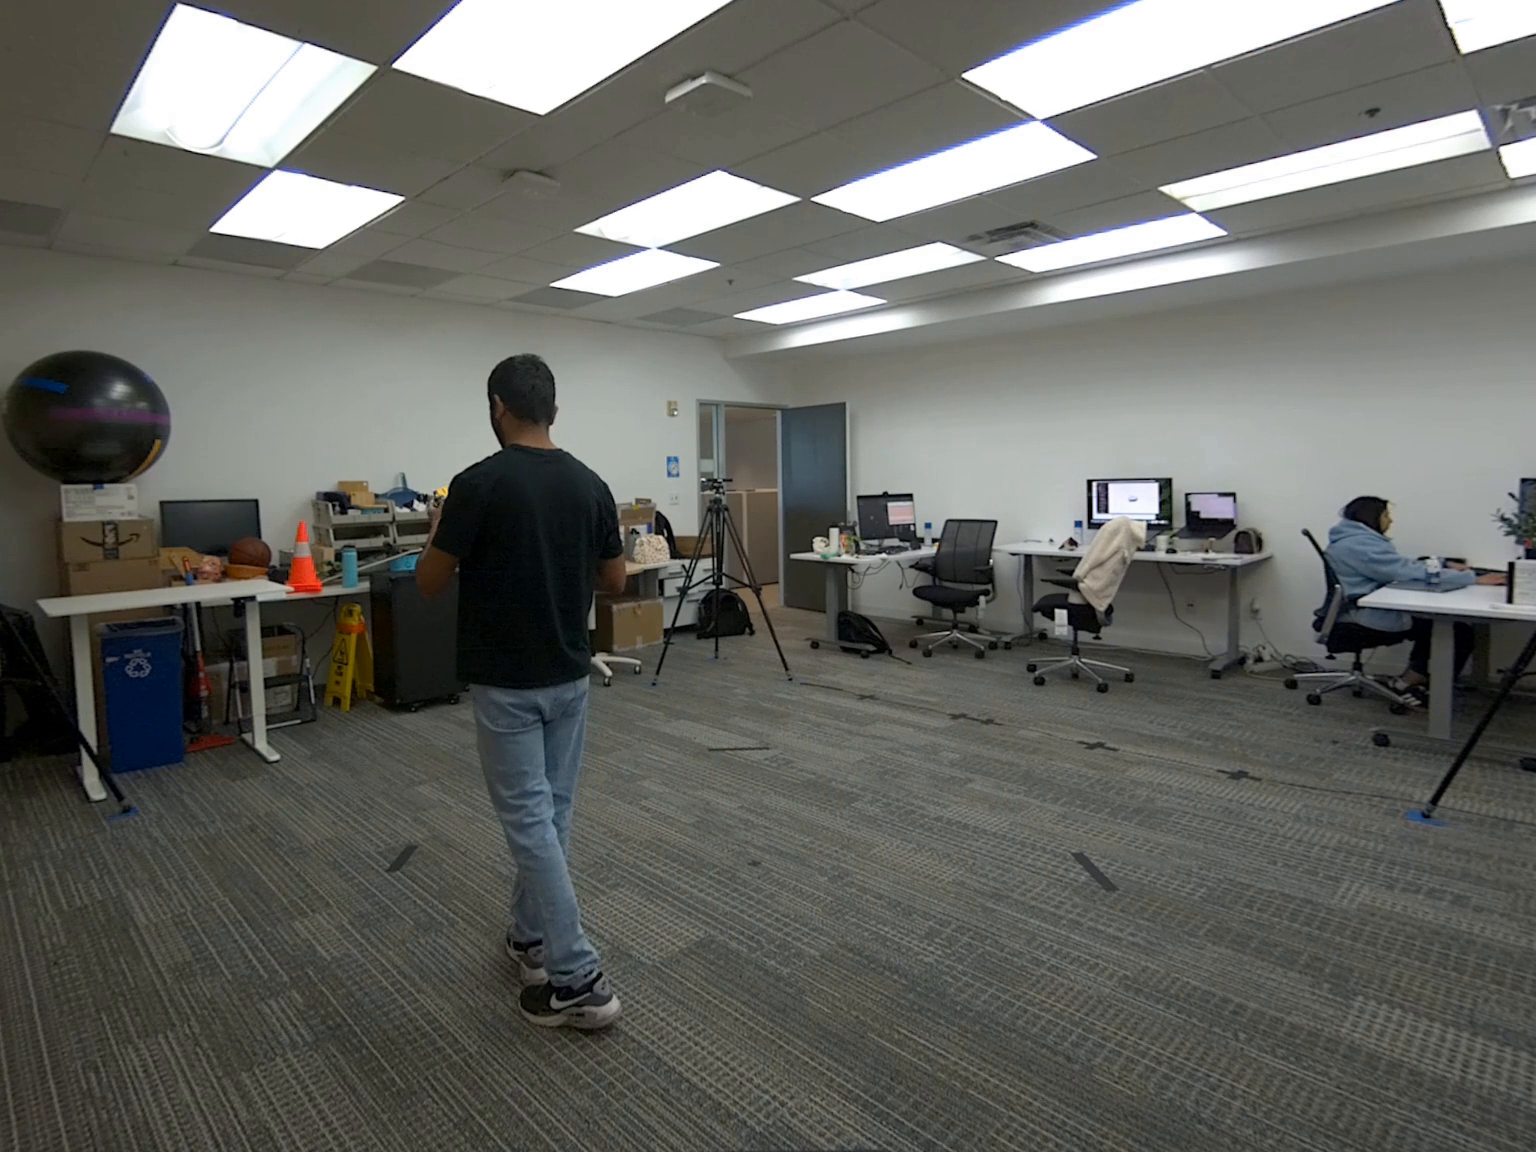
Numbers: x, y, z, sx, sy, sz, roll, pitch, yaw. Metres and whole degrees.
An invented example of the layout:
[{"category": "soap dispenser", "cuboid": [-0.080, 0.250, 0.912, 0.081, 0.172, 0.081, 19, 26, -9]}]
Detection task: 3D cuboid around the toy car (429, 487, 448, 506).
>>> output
[{"category": "toy car", "cuboid": [-0.892, -0.175, 2.511, 0.128, 0.082, 0.263, -18, 56, -35]}]
